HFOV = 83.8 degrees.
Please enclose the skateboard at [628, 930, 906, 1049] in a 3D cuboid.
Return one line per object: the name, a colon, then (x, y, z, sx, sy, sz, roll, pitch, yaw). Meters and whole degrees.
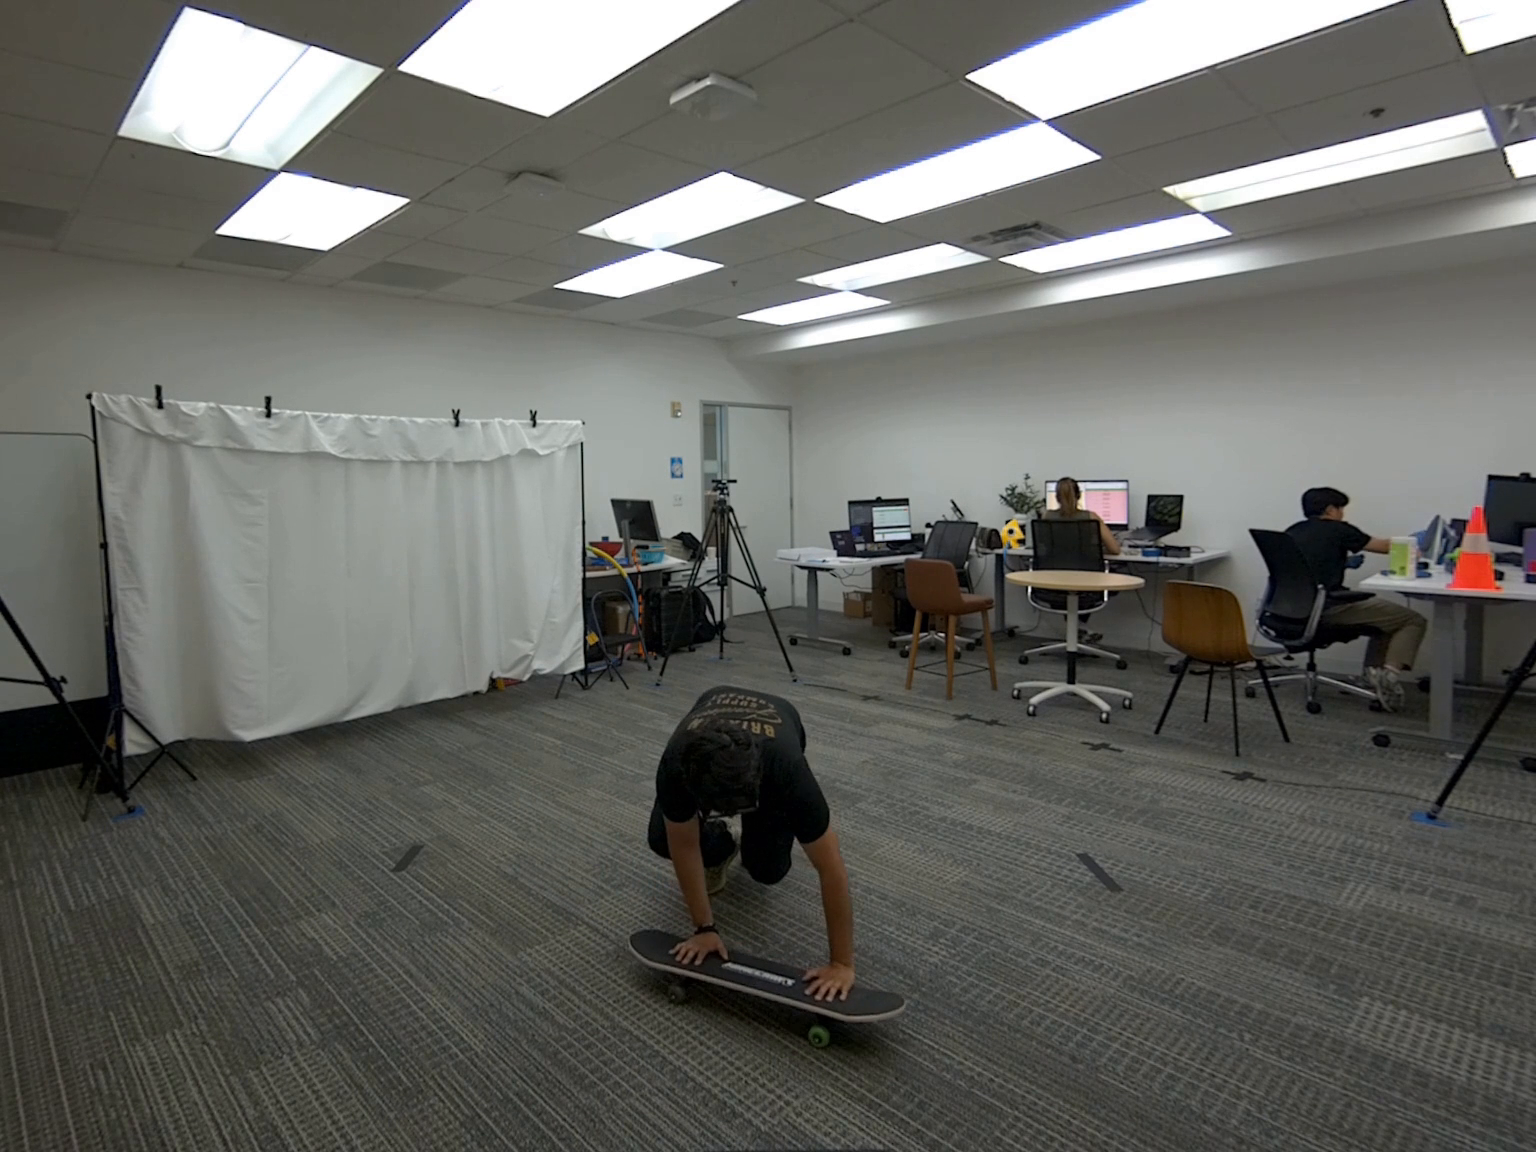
skateboard: (-0.030, 1.094, 2.269, 0.804, 0.110, 0.188, 2, -2, 27)
